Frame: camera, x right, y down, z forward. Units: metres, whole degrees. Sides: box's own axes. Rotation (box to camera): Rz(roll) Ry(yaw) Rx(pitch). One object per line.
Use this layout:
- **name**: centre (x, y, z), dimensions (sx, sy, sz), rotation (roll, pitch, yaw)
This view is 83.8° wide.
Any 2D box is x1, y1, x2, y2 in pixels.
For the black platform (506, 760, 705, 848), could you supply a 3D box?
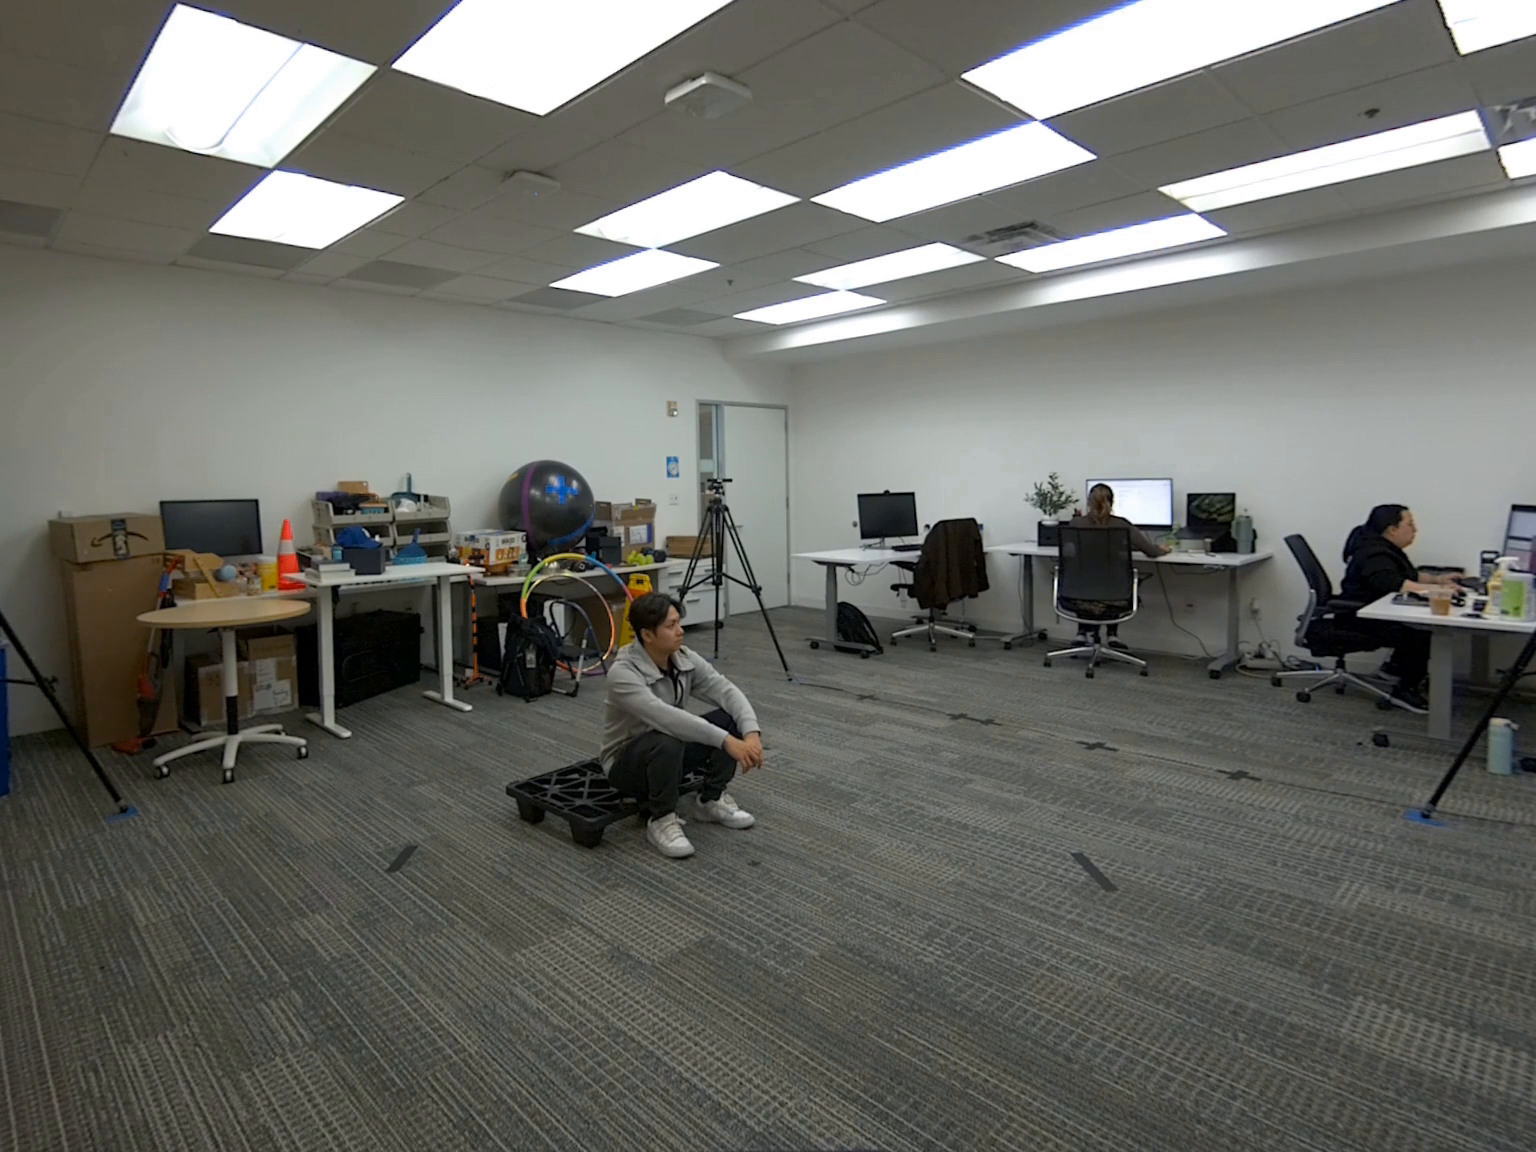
- **black platform**: centre (-0.616, 0.925, 3.672), dimensions (0.624, 0.142, 0.785), rotation (5, 9, 41)
